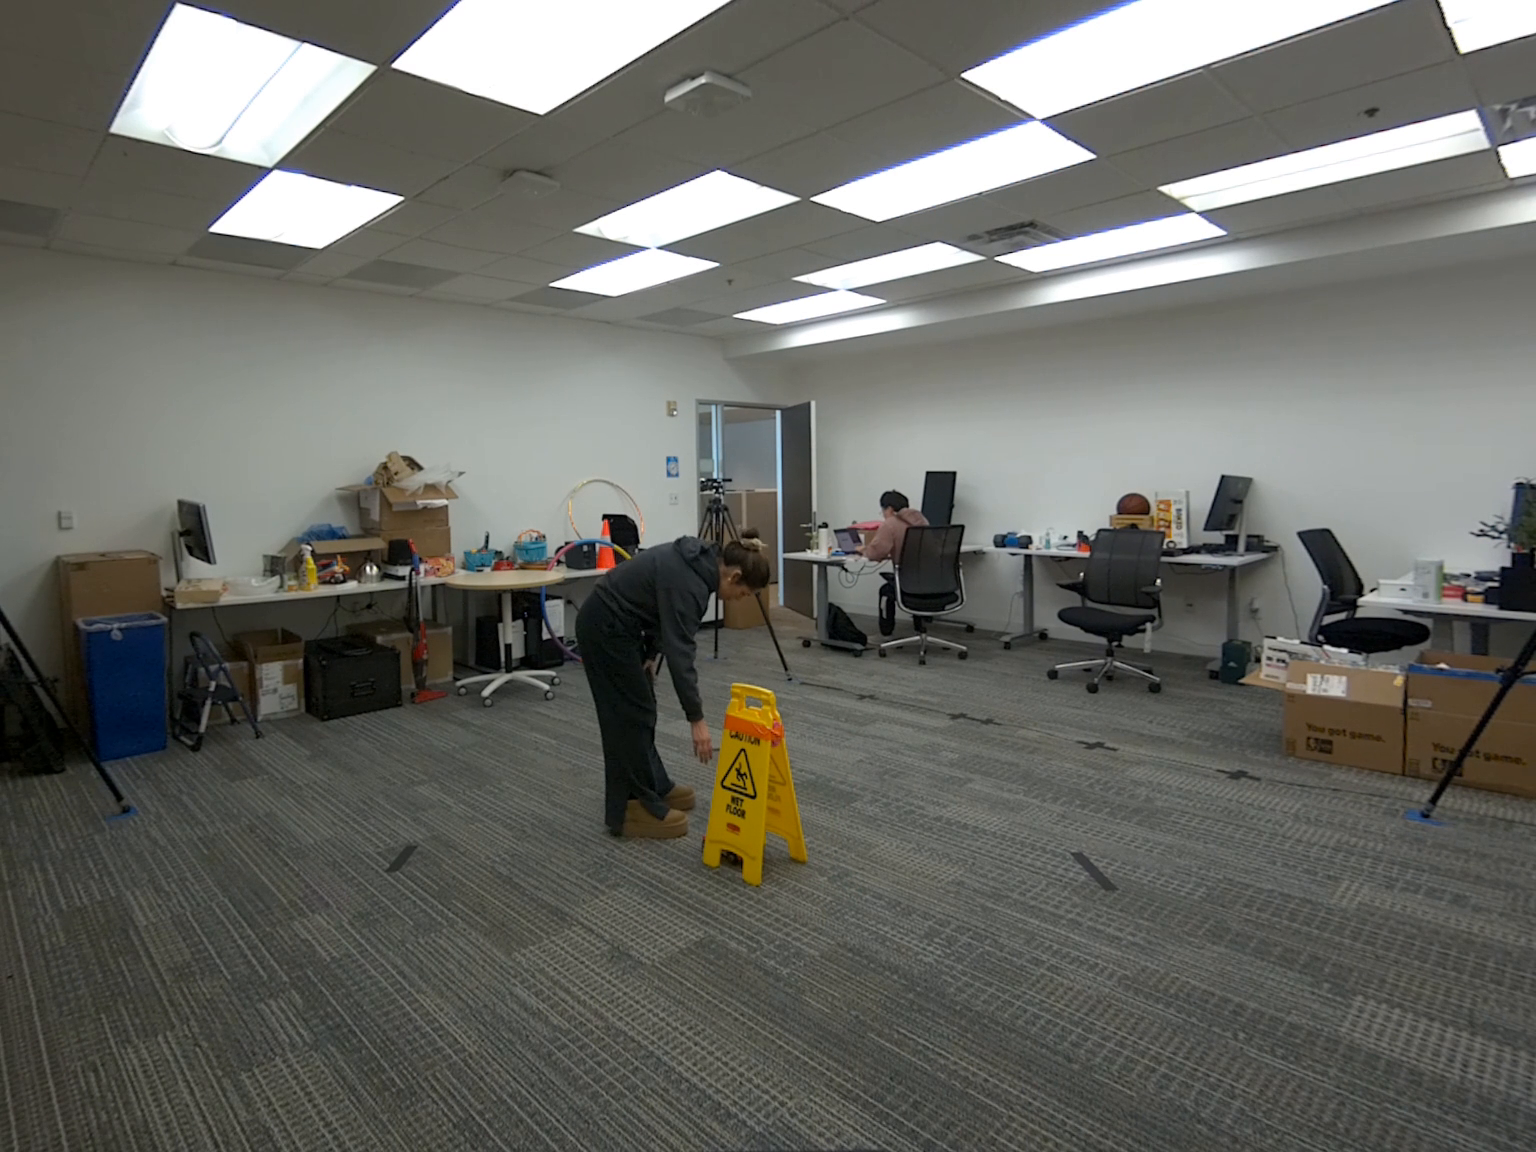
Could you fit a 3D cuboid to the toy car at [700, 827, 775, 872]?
[{"bbox_3d":[-0.118,1.008,3.178,0.127,0.083,0.261,-6,-1,-44],"label":"toy car"}]
